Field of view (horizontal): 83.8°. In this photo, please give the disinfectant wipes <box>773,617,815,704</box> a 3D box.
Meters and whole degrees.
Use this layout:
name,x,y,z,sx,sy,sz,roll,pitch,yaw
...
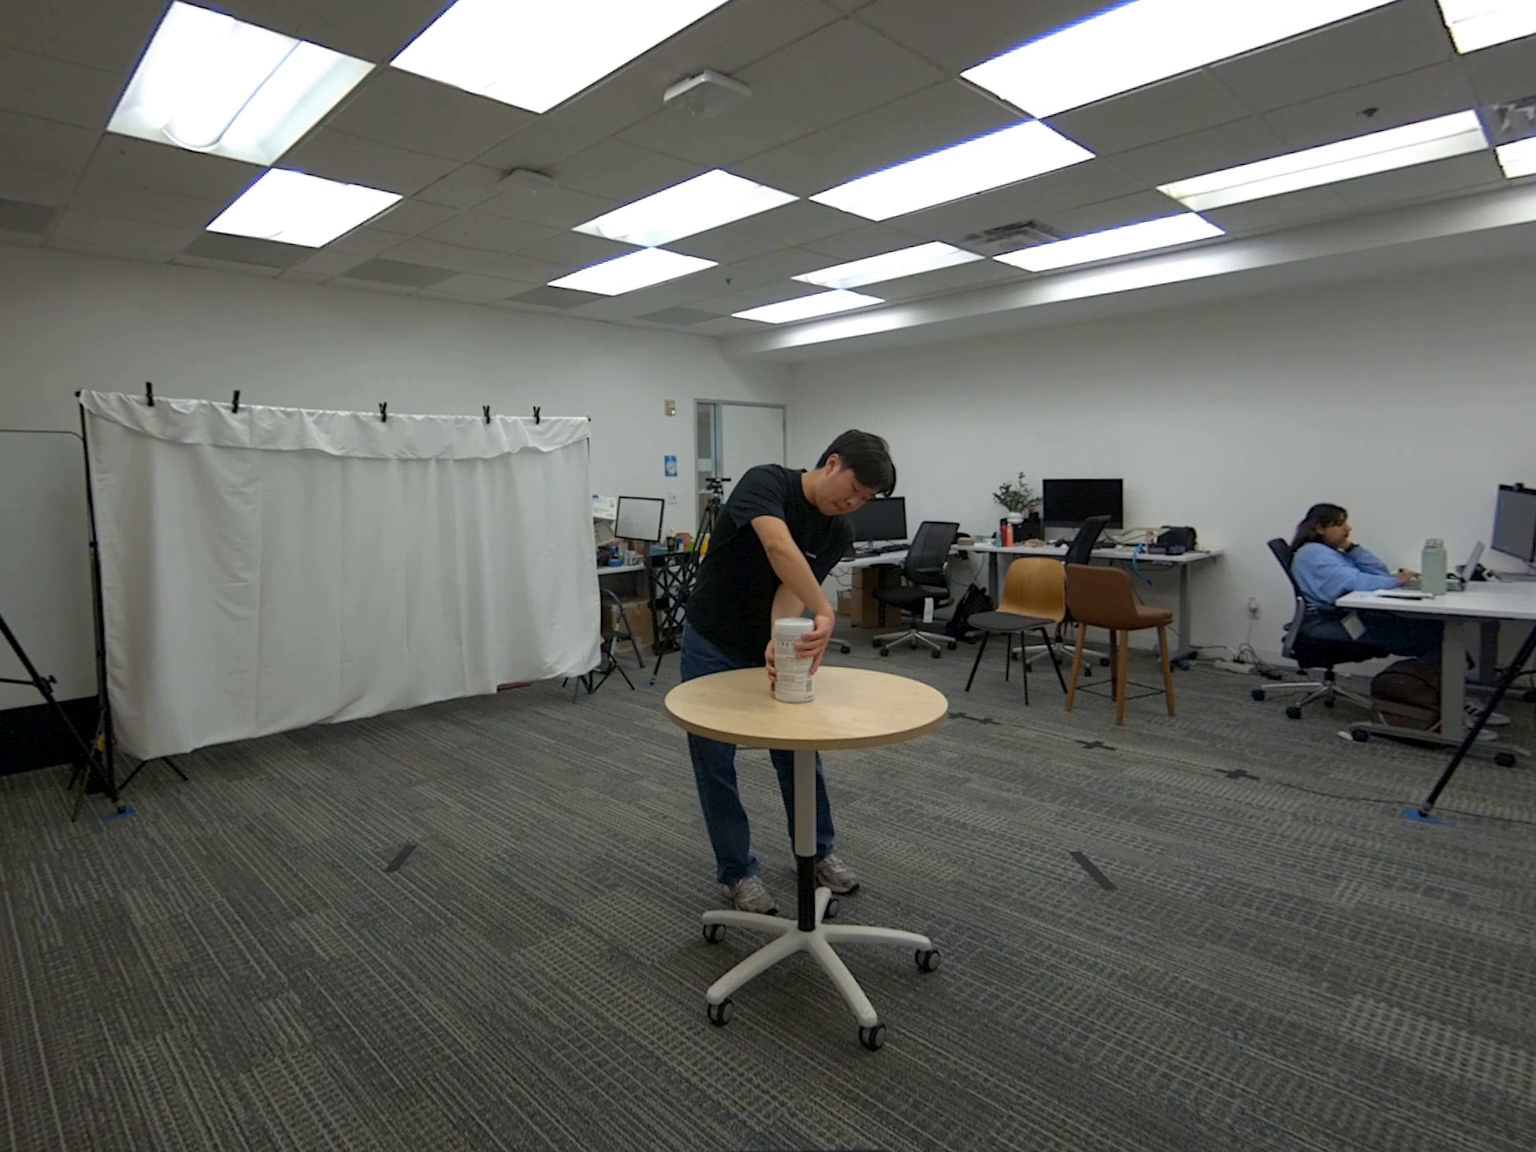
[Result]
name,x,y,z,sx,sy,sz,roll,pitch,yaw
disinfectant wipes,0.077,0.233,2.326,0.118,0.217,0.118,-3,2,-2
